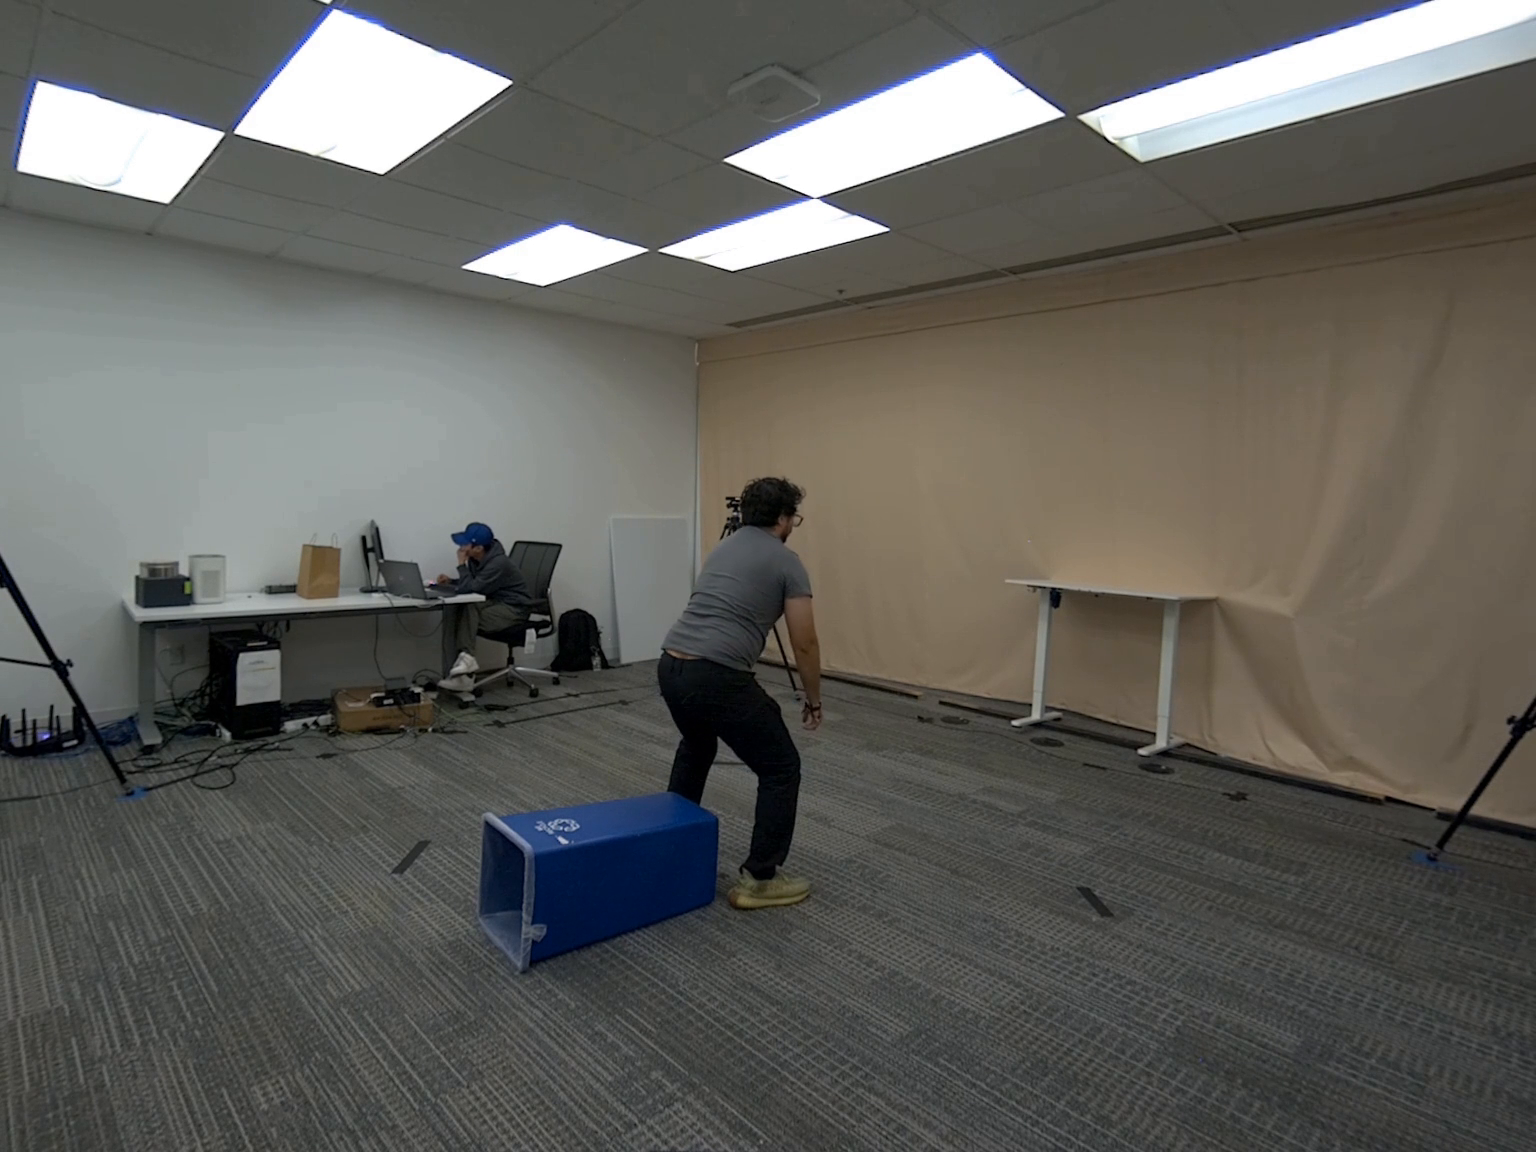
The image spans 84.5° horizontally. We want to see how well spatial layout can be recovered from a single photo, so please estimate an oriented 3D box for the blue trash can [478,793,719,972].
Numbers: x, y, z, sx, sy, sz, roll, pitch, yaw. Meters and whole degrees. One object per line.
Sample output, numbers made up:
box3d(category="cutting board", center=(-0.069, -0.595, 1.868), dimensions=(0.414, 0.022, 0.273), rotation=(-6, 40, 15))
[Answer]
box3d(category="blue trash can", center=(-0.551, 0.952, 2.780), dimensions=(0.697, 0.373, 0.388), rotation=(0, 4, -39))
